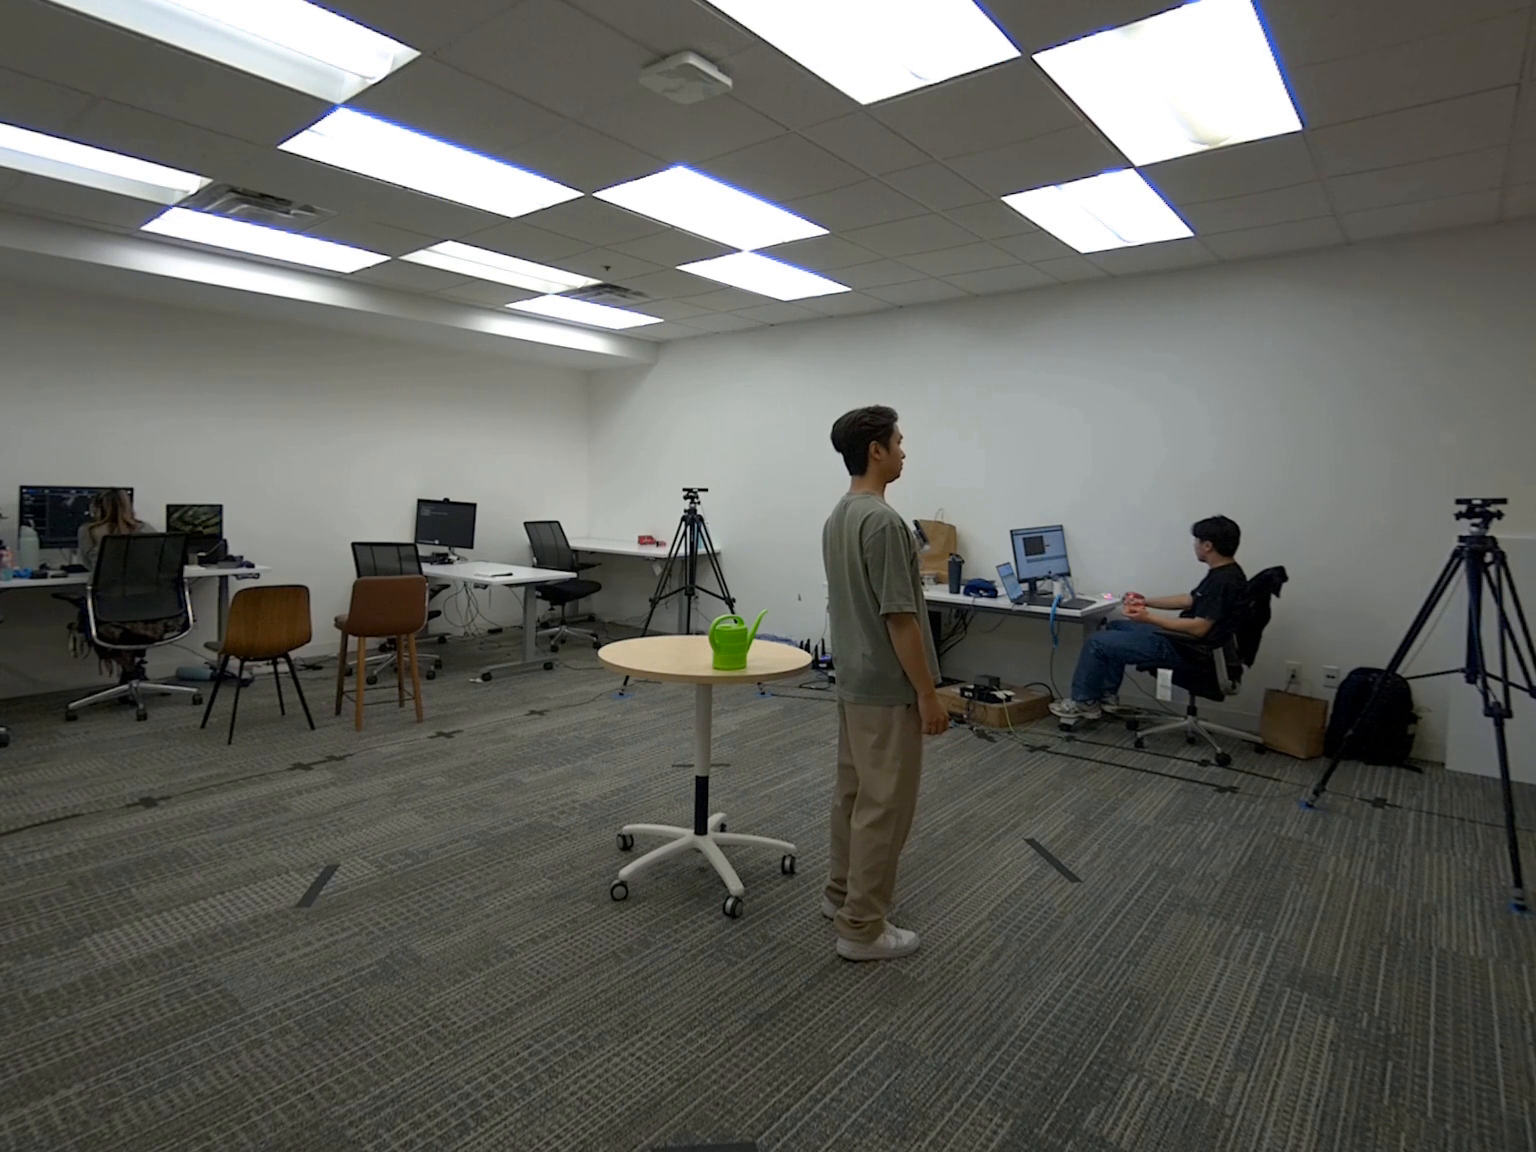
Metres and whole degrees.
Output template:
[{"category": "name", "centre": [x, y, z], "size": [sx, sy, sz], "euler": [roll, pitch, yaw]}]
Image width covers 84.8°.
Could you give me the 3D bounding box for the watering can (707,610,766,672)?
[{"category": "watering can", "centre": [-0.104, 0.206, 2.855], "size": [0.271, 0.176, 0.101], "euler": [-3, 3, -31]}]
